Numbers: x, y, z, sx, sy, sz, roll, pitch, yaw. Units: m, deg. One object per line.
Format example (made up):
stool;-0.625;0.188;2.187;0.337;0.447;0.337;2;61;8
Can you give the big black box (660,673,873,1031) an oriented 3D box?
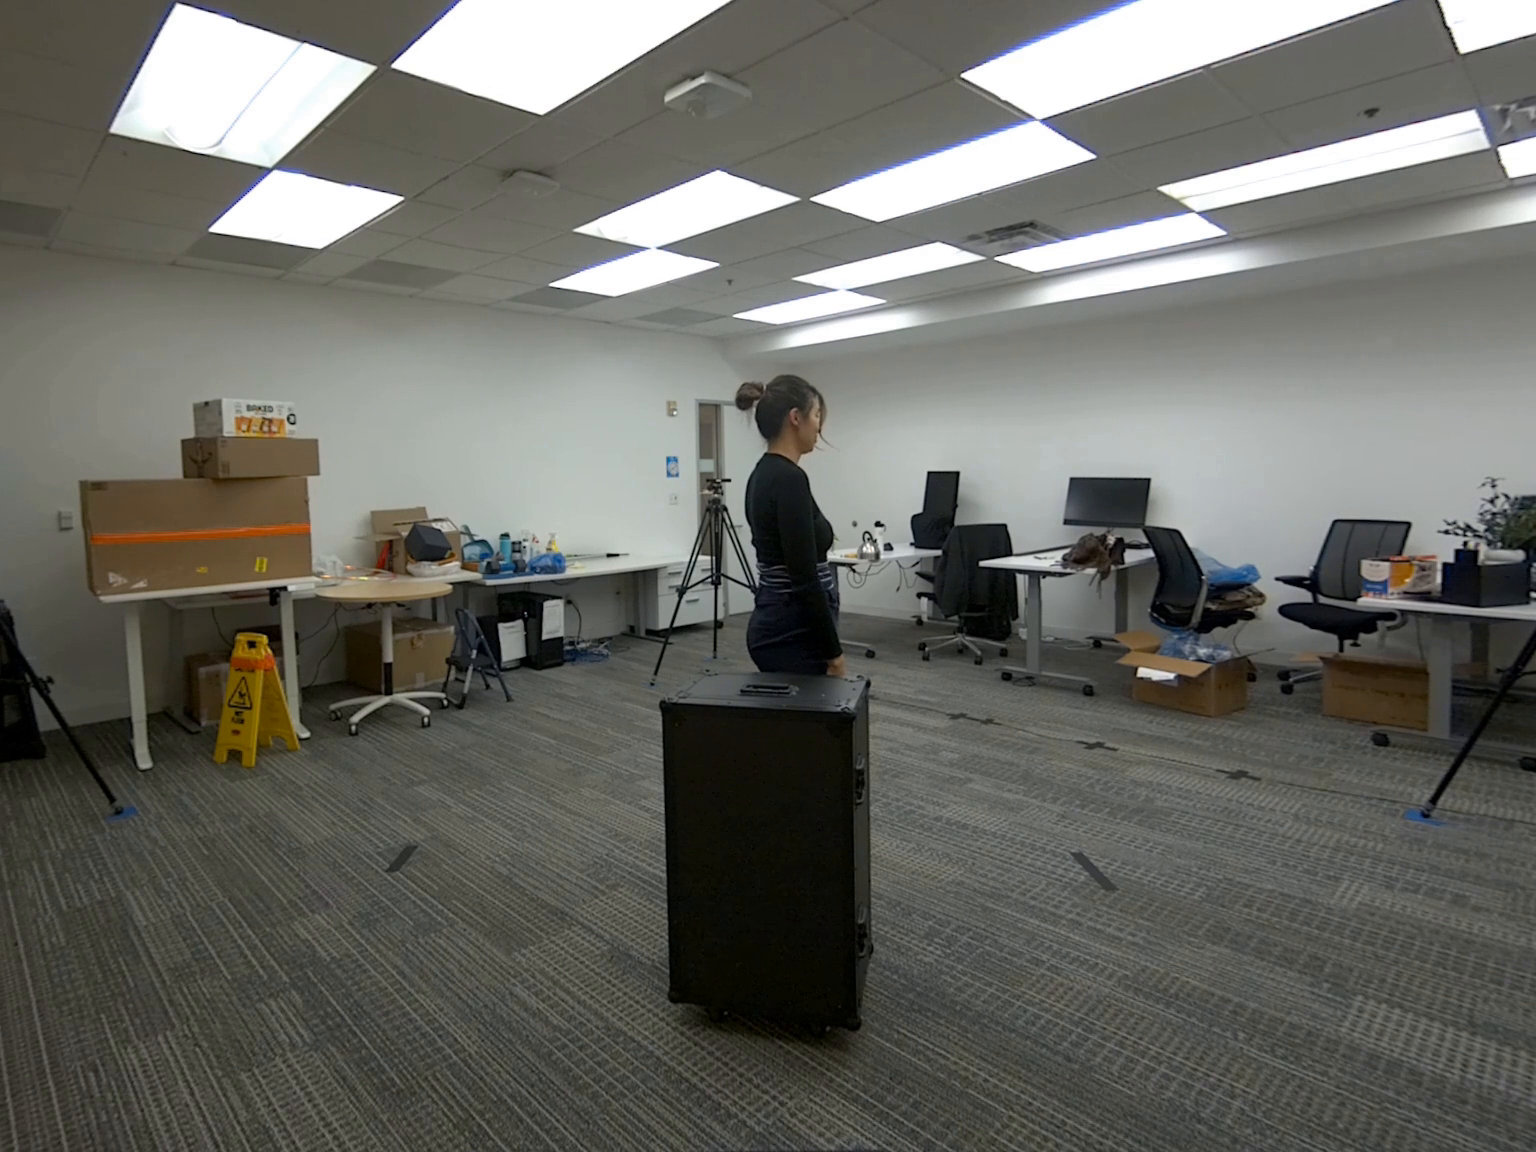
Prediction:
big black box;0.012;0.721;2.269;0.529;0.859;0.391;0;3;14
